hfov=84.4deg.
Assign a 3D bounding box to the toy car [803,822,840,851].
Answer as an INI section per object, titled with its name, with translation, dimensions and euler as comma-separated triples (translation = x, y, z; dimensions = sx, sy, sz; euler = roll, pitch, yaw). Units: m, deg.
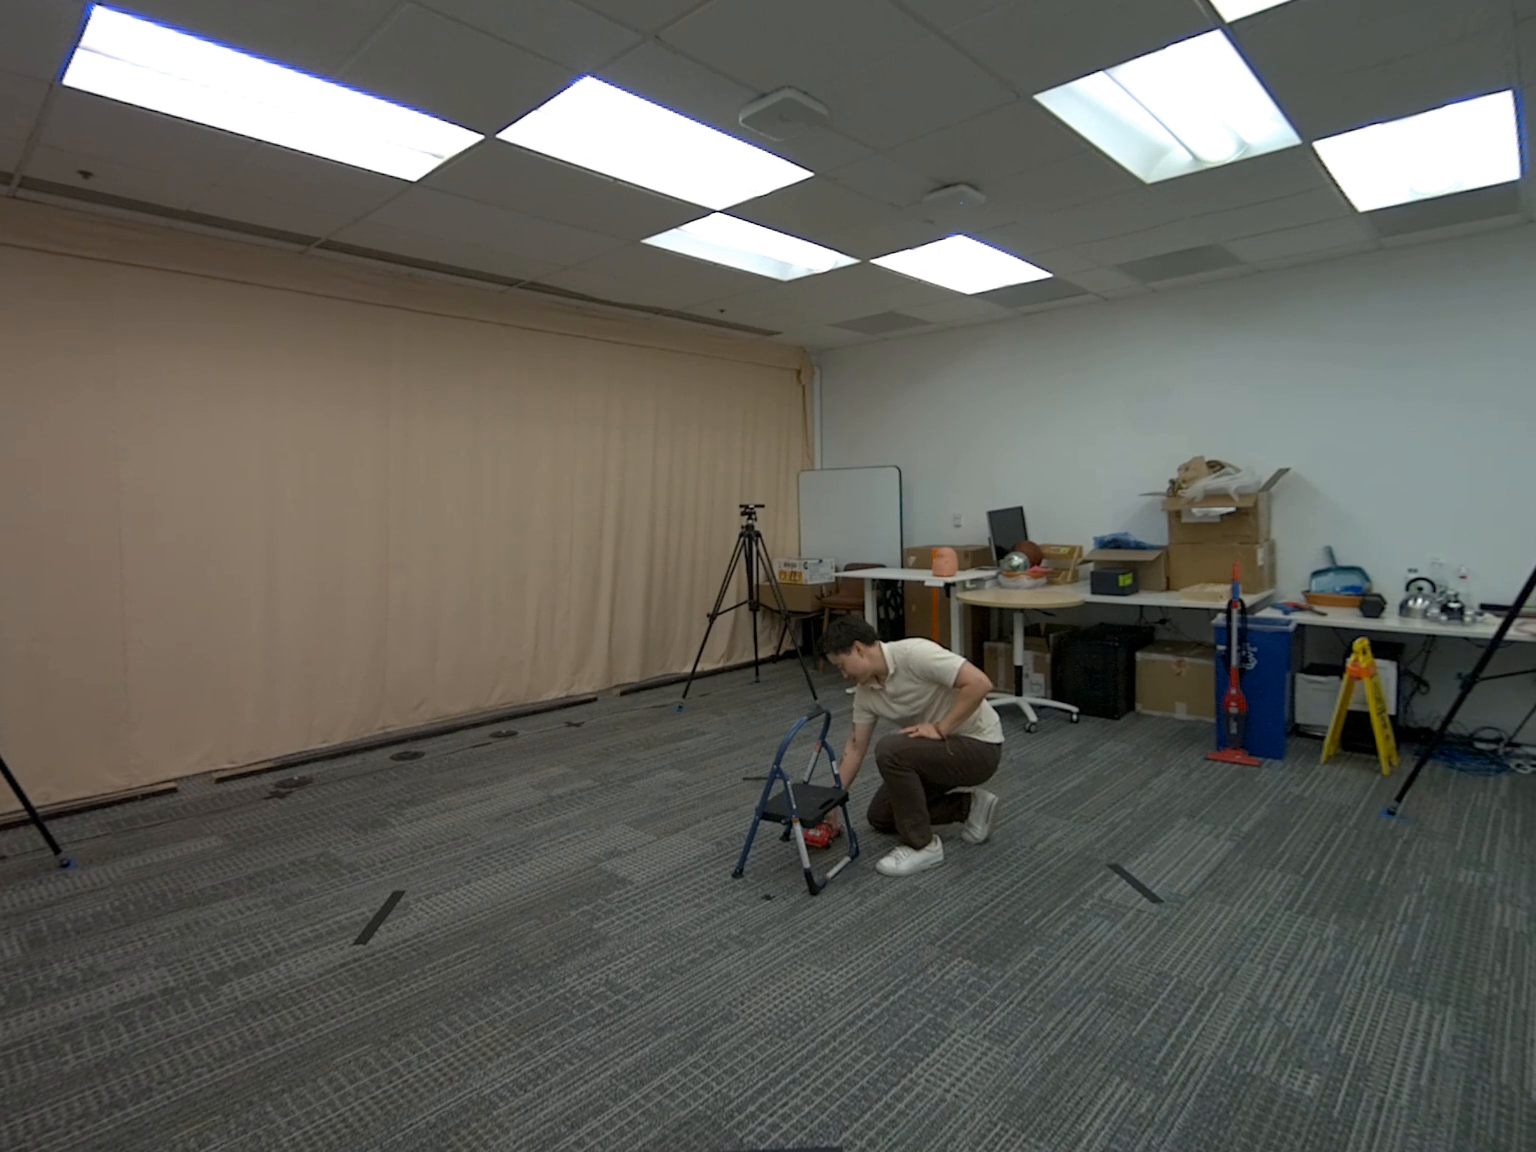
[toy car]
translation = 0.229, 1.069, 3.481
dimensions = 0.134, 0.083, 0.247
euler = 0, -7, 29
